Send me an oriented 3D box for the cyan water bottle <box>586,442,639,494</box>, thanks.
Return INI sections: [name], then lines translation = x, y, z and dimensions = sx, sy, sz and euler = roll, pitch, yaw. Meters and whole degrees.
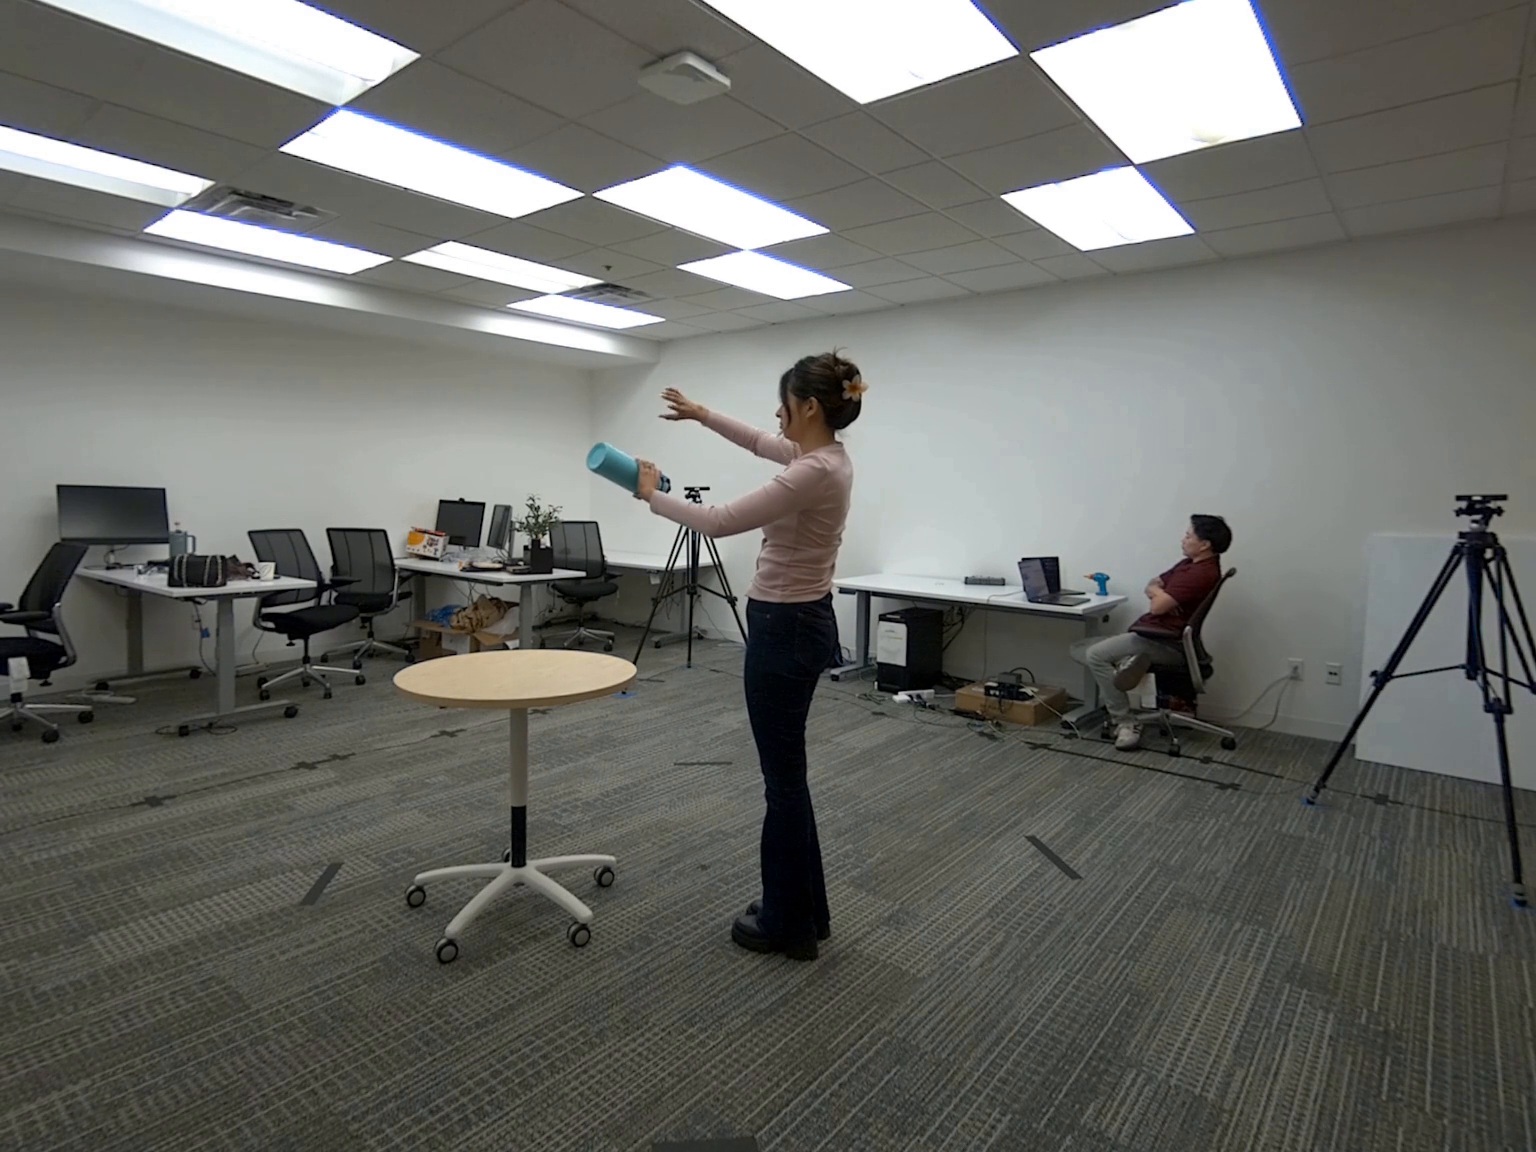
[cyan water bottle]
translation = -0.412, -0.296, 2.505
dimensions = 0.095, 0.093, 0.272
euler = 4, -17, 43
